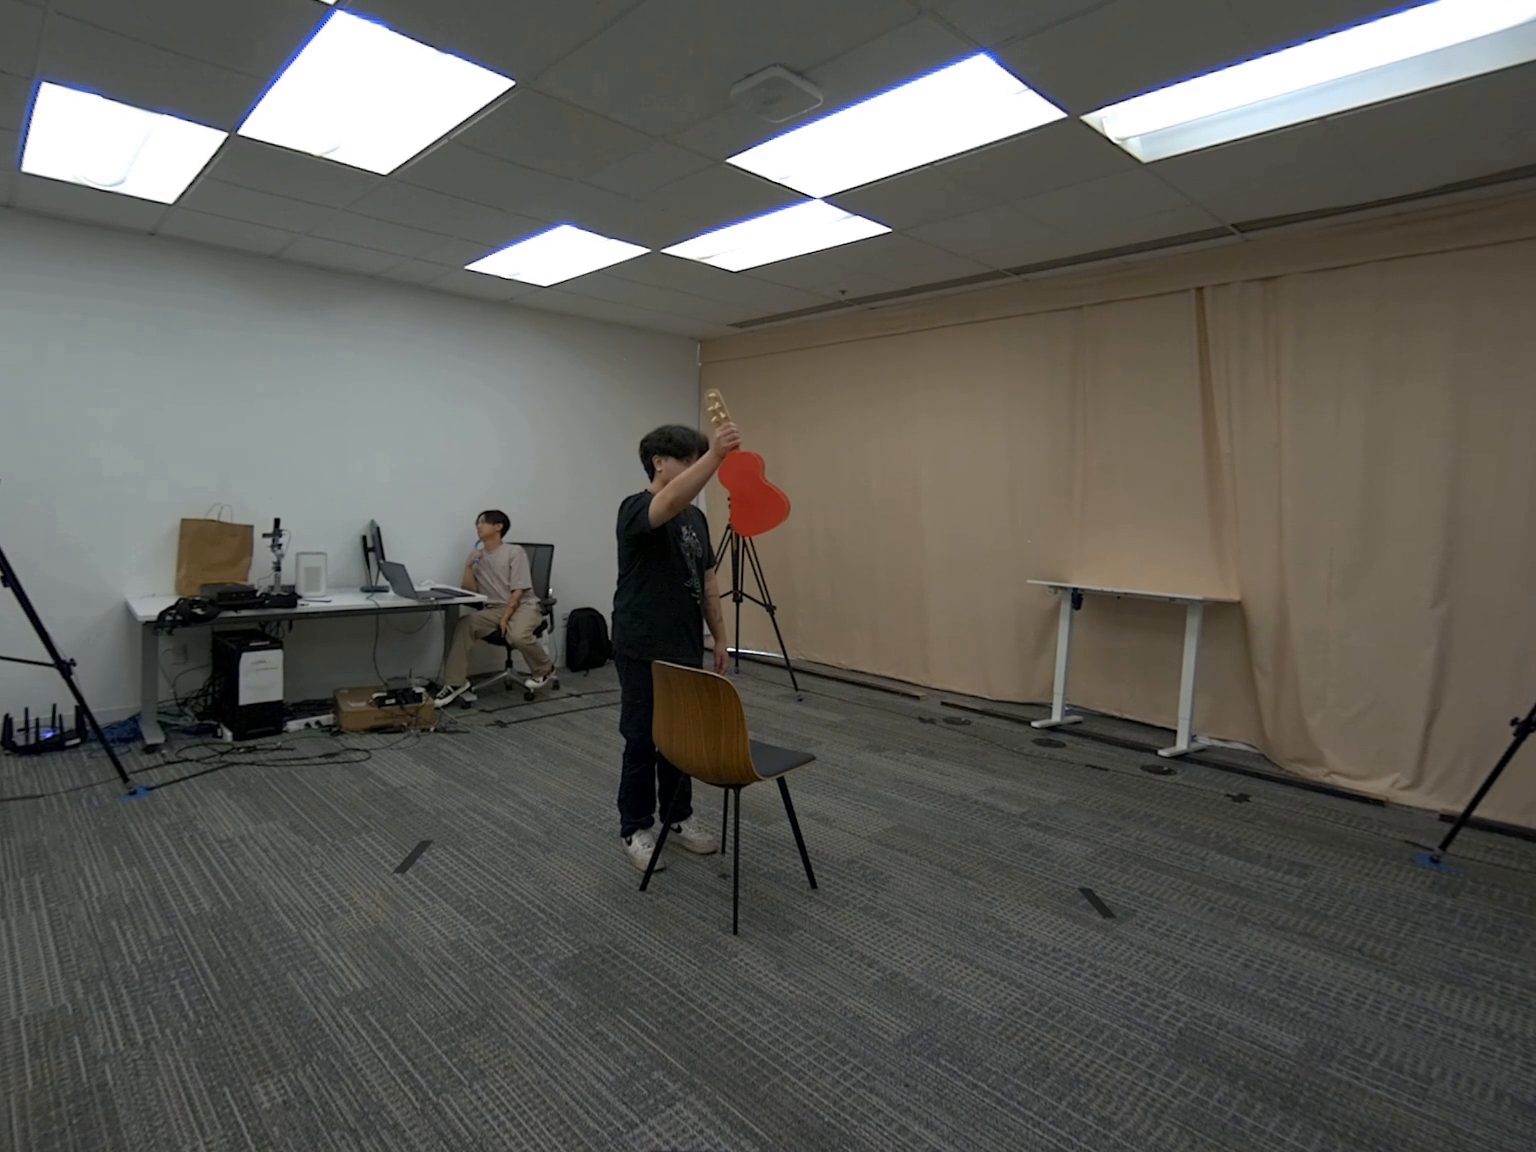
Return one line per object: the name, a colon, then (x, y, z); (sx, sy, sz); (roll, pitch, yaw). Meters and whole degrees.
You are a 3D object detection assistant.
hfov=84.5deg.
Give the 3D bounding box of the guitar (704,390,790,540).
guitar: (-0.123, -0.349, 2.721); (0.194, 0.502, 0.070); (-32, -8, 17)
